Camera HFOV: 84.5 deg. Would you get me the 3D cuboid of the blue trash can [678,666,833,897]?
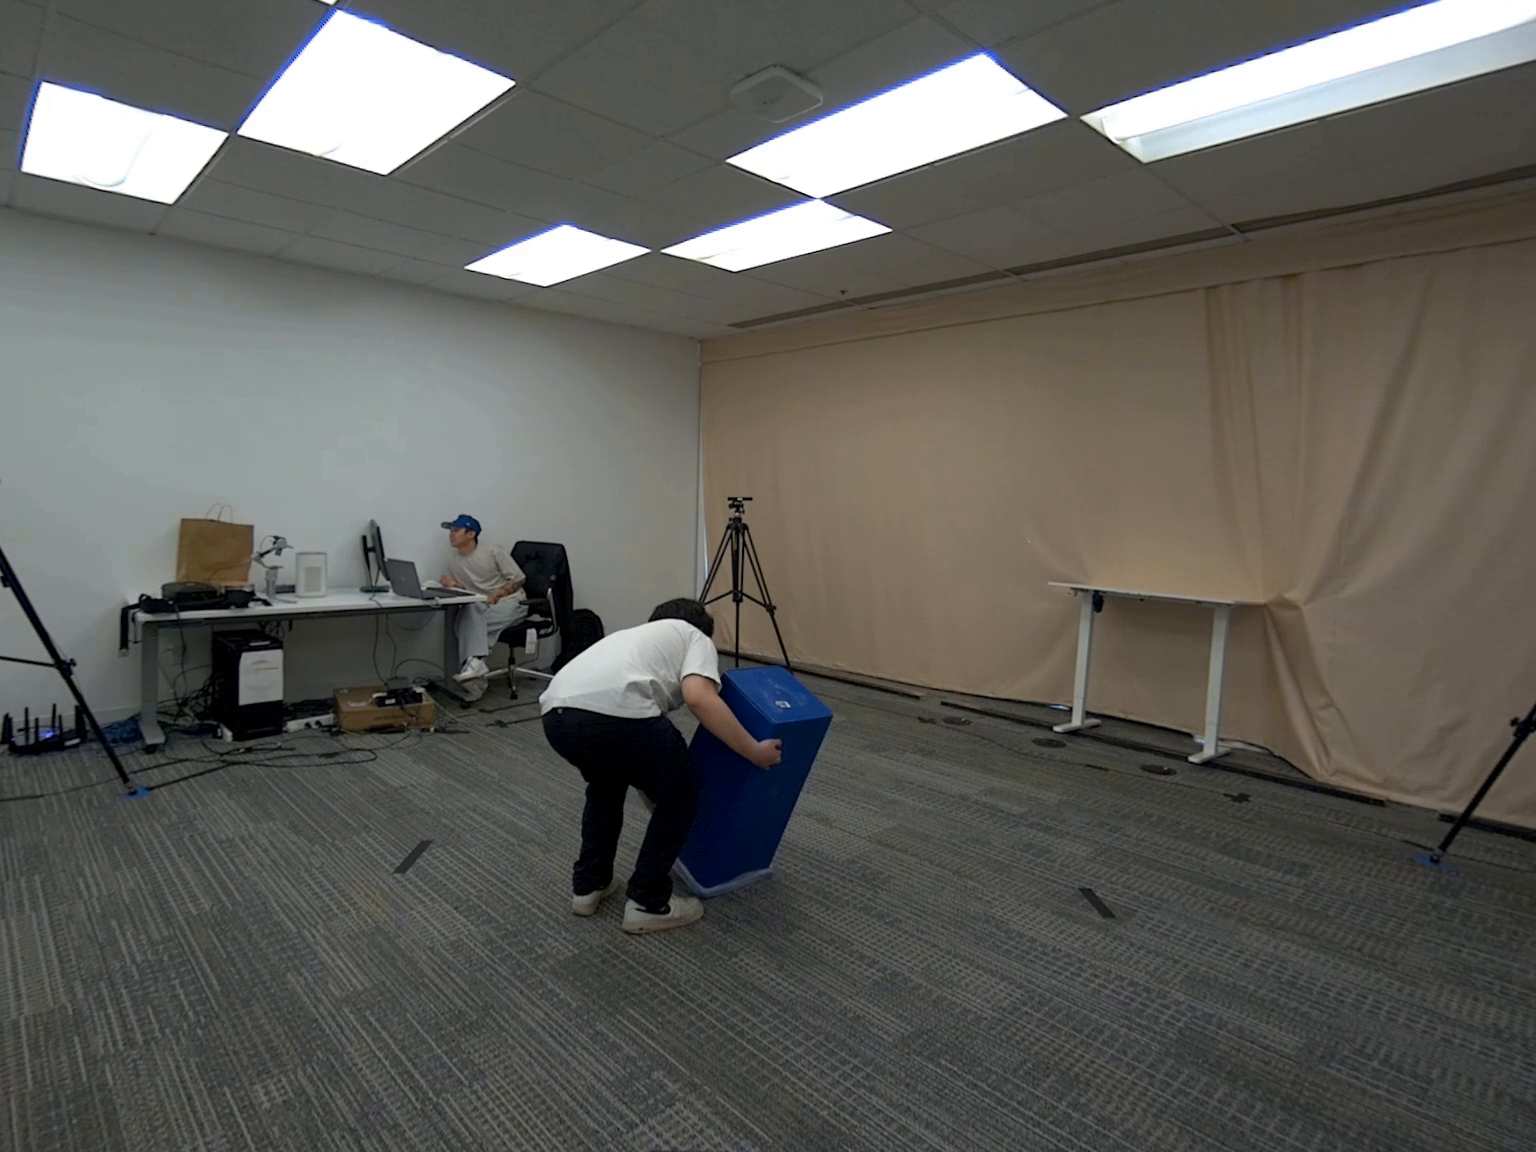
[{"bbox_3d":[-0.092,0.715,3.013,0.369,0.708,0.386,2,28,-44],"label":"blue trash can"}]
